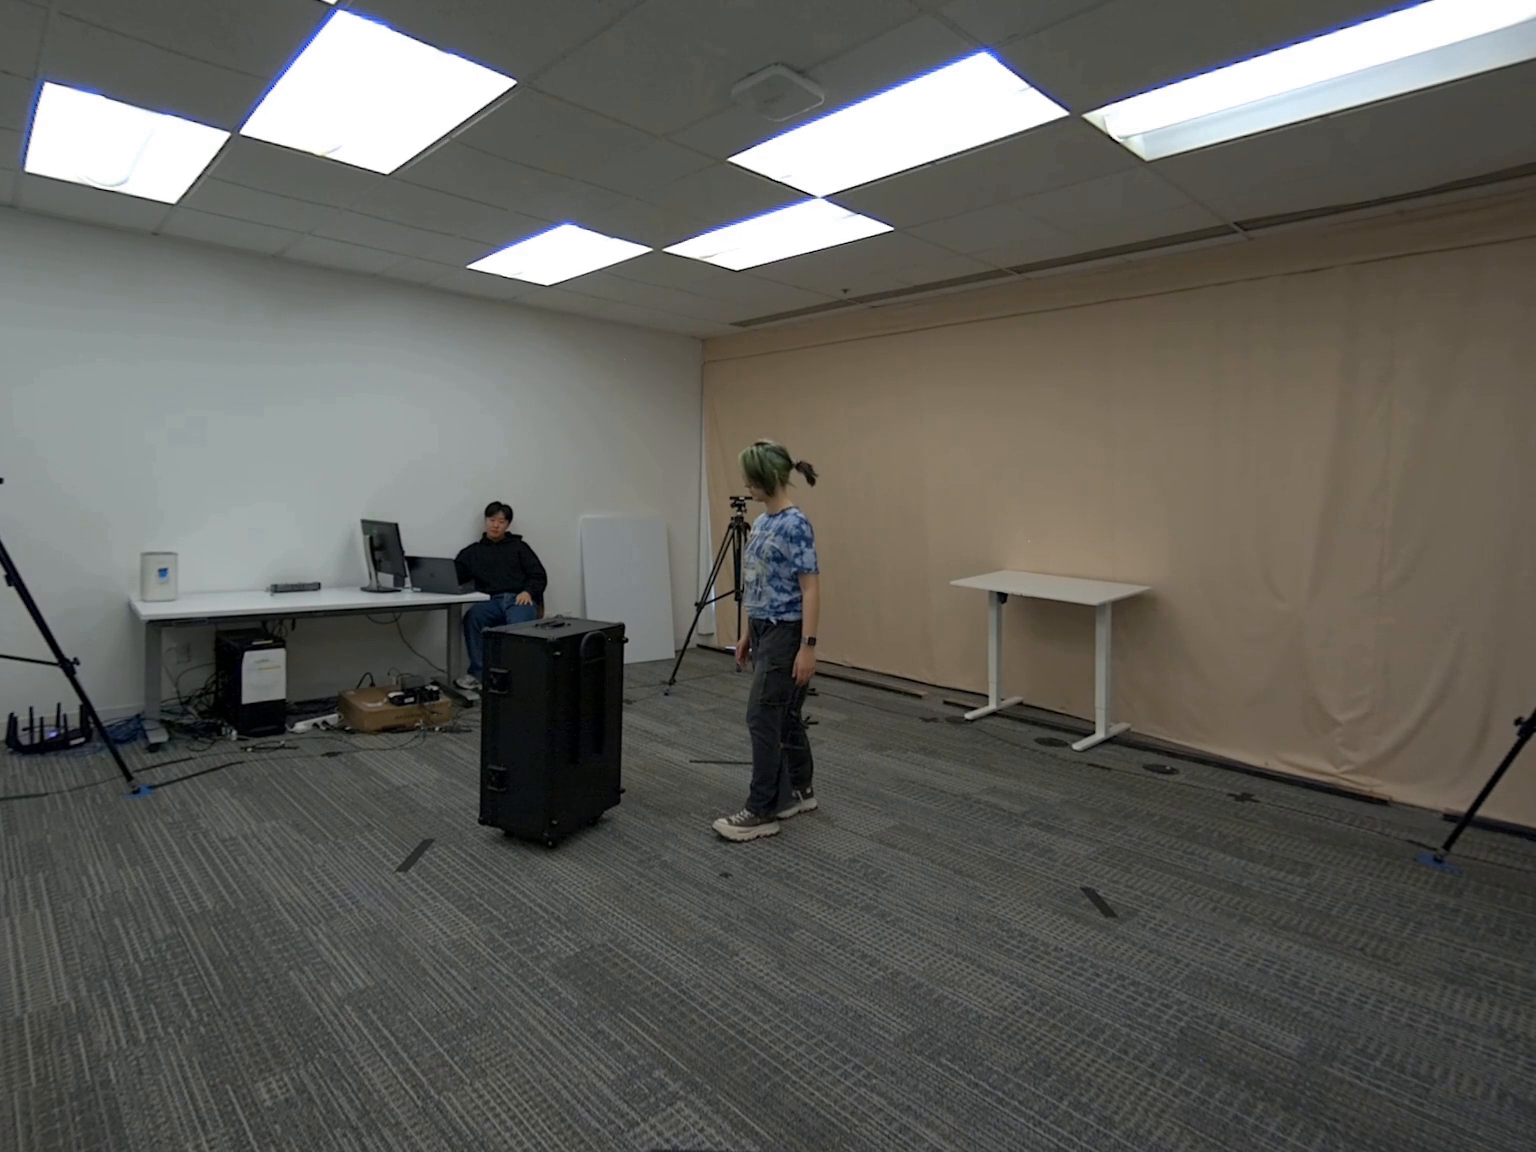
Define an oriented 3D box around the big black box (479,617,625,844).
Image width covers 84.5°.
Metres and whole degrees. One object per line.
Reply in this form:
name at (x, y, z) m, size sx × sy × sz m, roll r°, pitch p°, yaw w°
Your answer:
big black box at (-0.876, 0.633, 3.463) m, size 0.404 × 0.859 × 0.512 m, roll 4°, pitch 4°, yaw 25°
